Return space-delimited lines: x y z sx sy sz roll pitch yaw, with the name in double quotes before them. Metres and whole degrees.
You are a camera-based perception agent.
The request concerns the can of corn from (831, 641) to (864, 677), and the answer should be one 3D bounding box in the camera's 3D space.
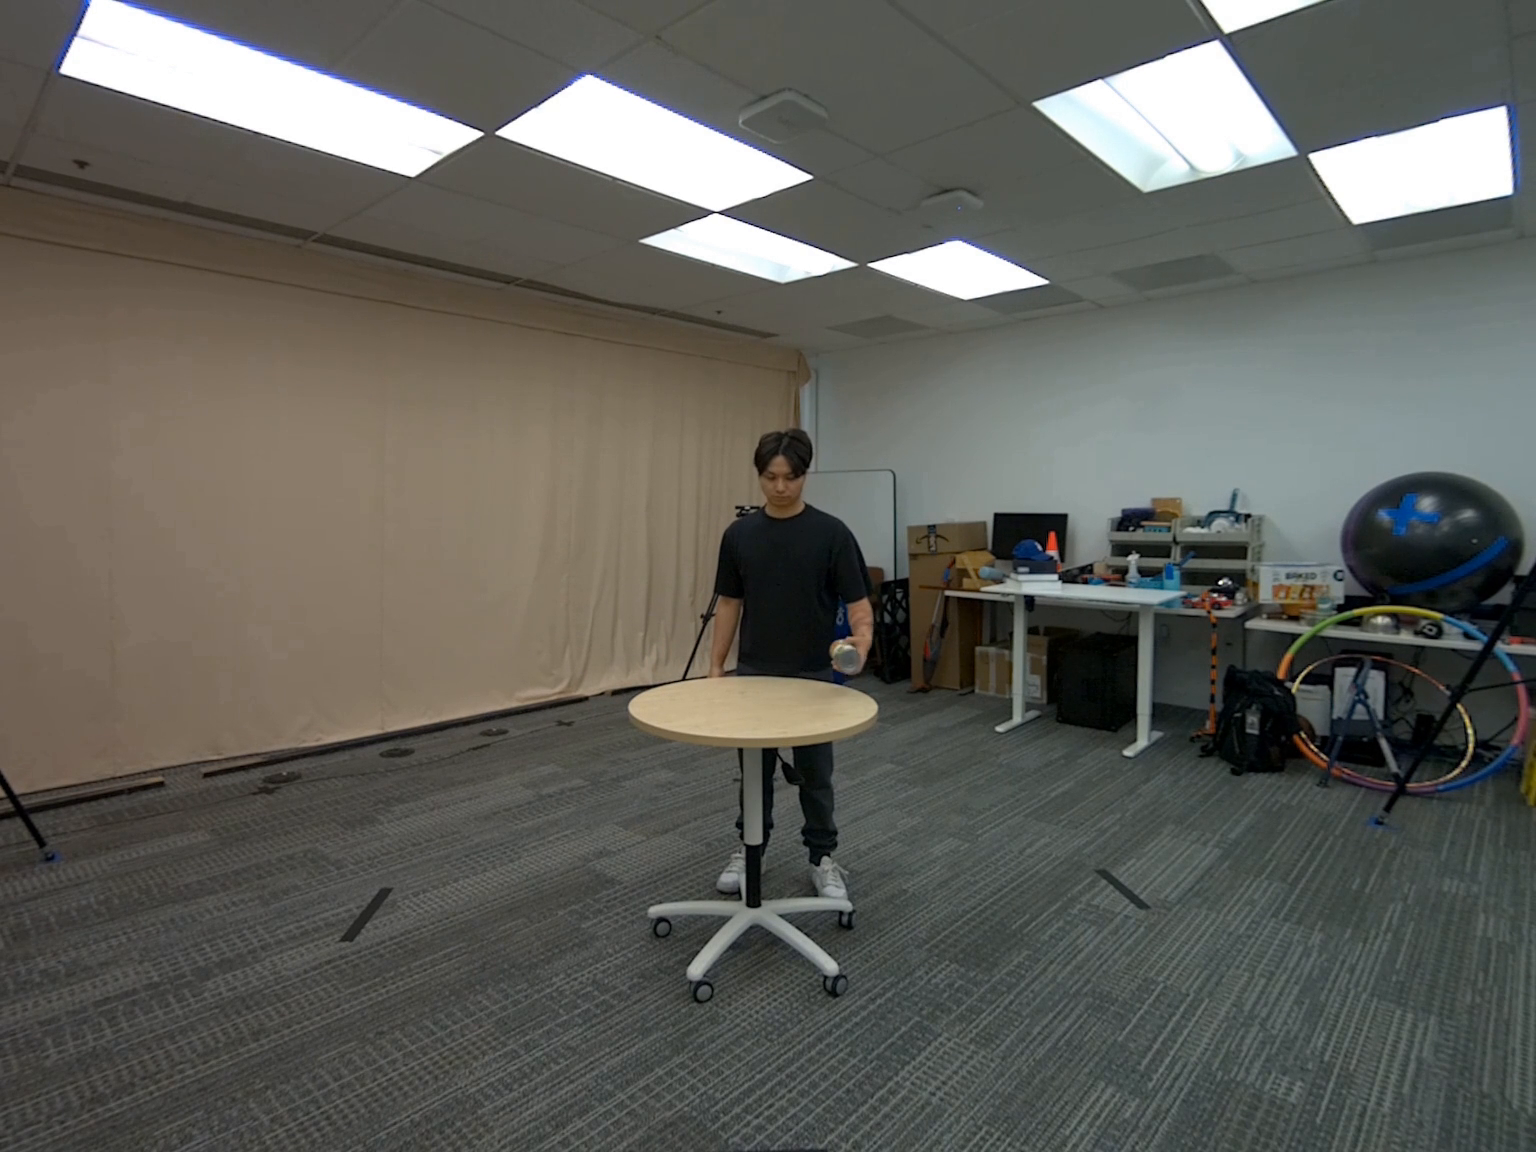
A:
"can of corn" 0.238 0.259 2.681 0.074 0.074 0.112 -1 10 -7
